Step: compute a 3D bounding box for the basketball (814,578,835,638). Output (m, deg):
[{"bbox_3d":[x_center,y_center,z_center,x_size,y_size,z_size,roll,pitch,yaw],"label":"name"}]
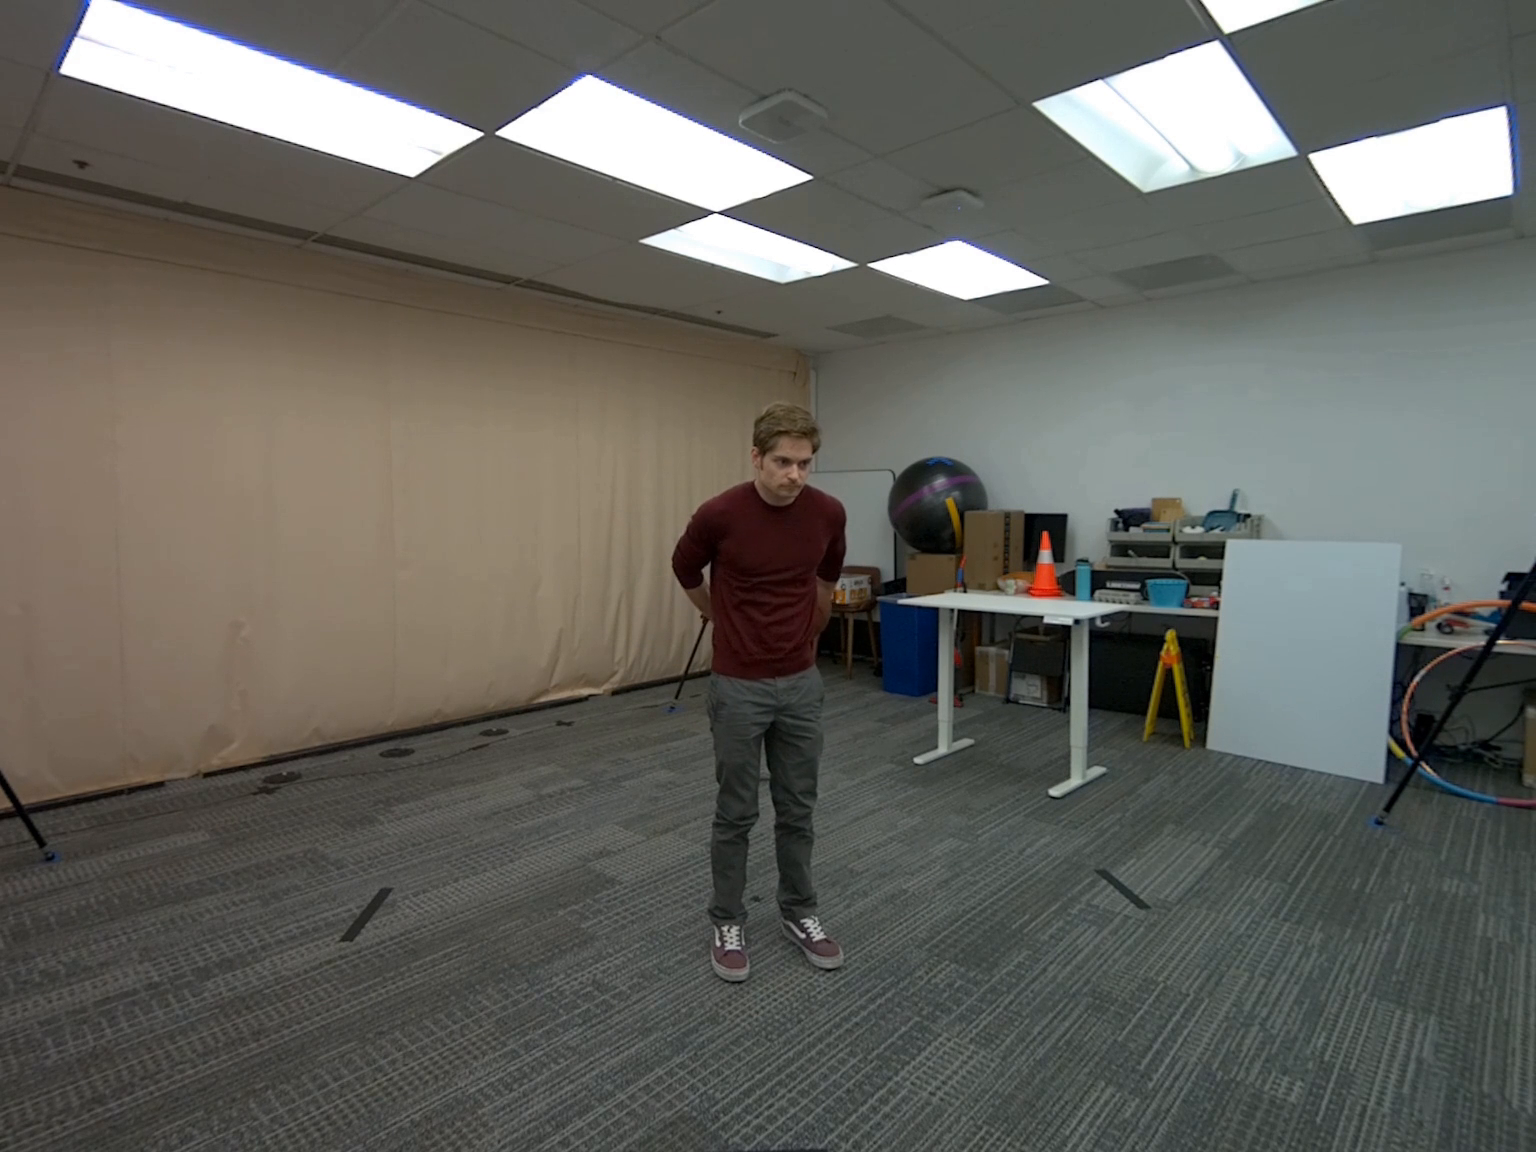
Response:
[{"bbox_3d":[0.086,0.104,2.796,0.236,0.235,0.237,0,4,-2],"label":"basketball"}]
